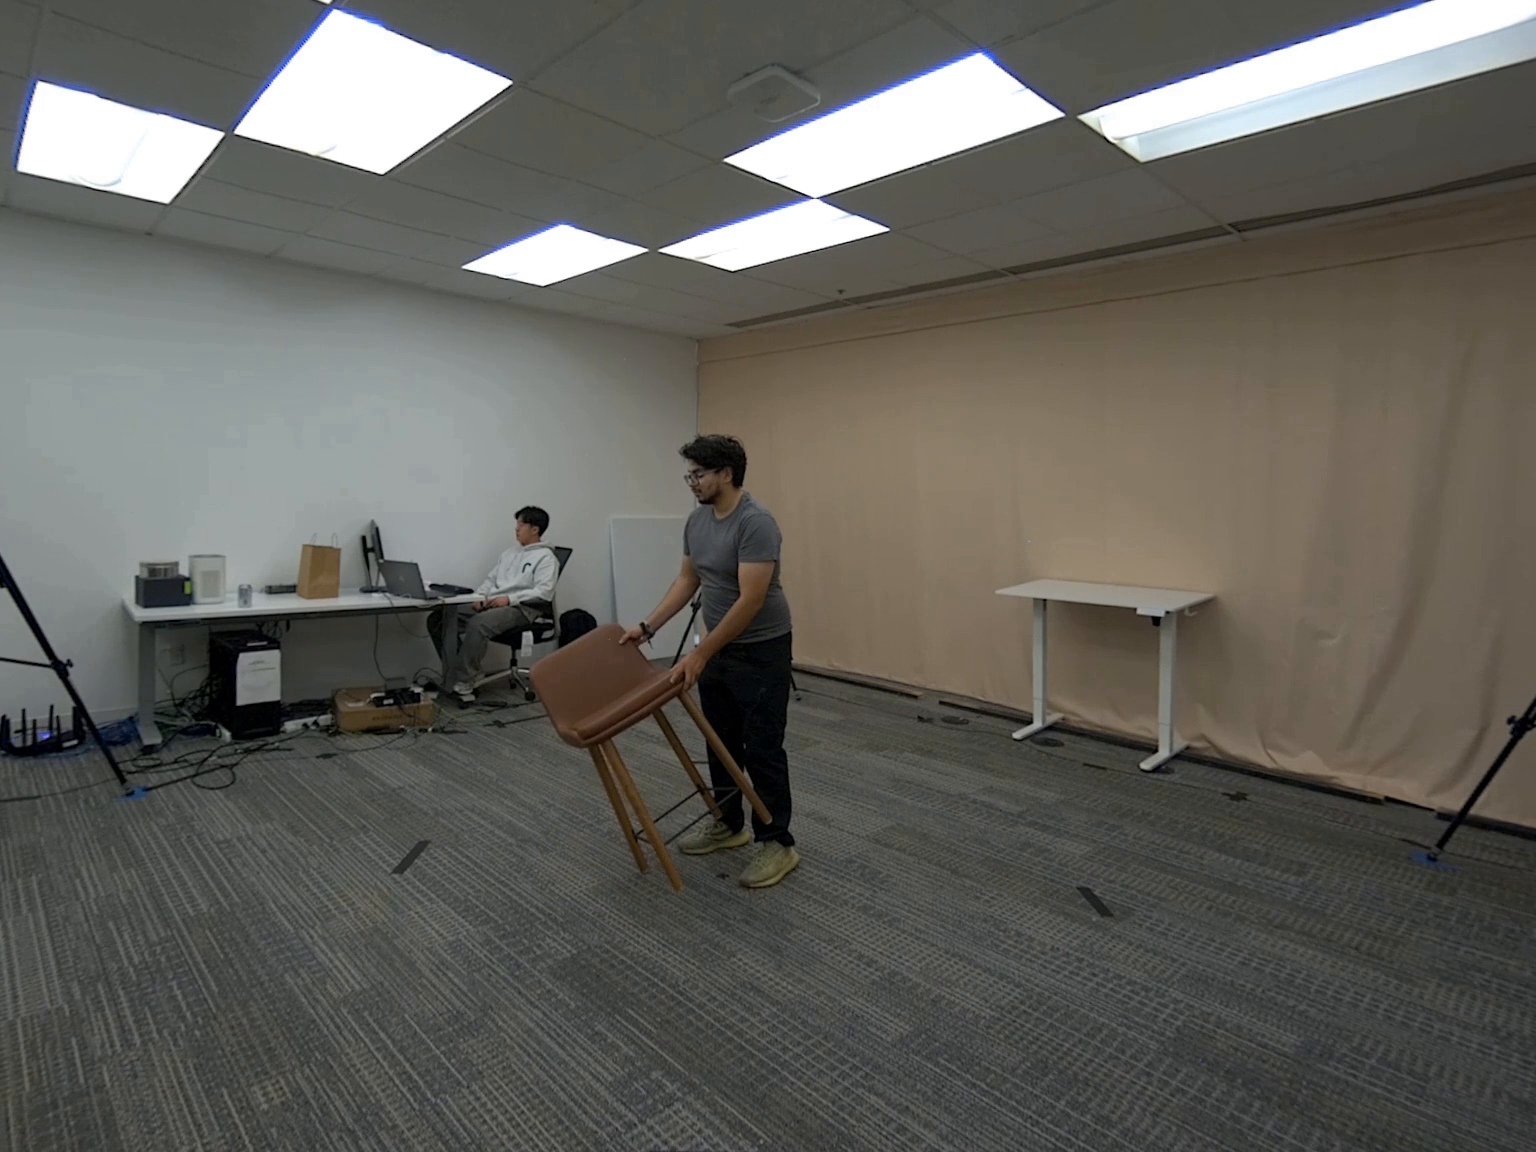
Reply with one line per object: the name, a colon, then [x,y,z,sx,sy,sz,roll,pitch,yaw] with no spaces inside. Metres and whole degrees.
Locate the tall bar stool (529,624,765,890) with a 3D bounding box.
tall bar stool: [-0.458,0.596,3.014,0.452,0.892,0.470,-28,-2,-26]
